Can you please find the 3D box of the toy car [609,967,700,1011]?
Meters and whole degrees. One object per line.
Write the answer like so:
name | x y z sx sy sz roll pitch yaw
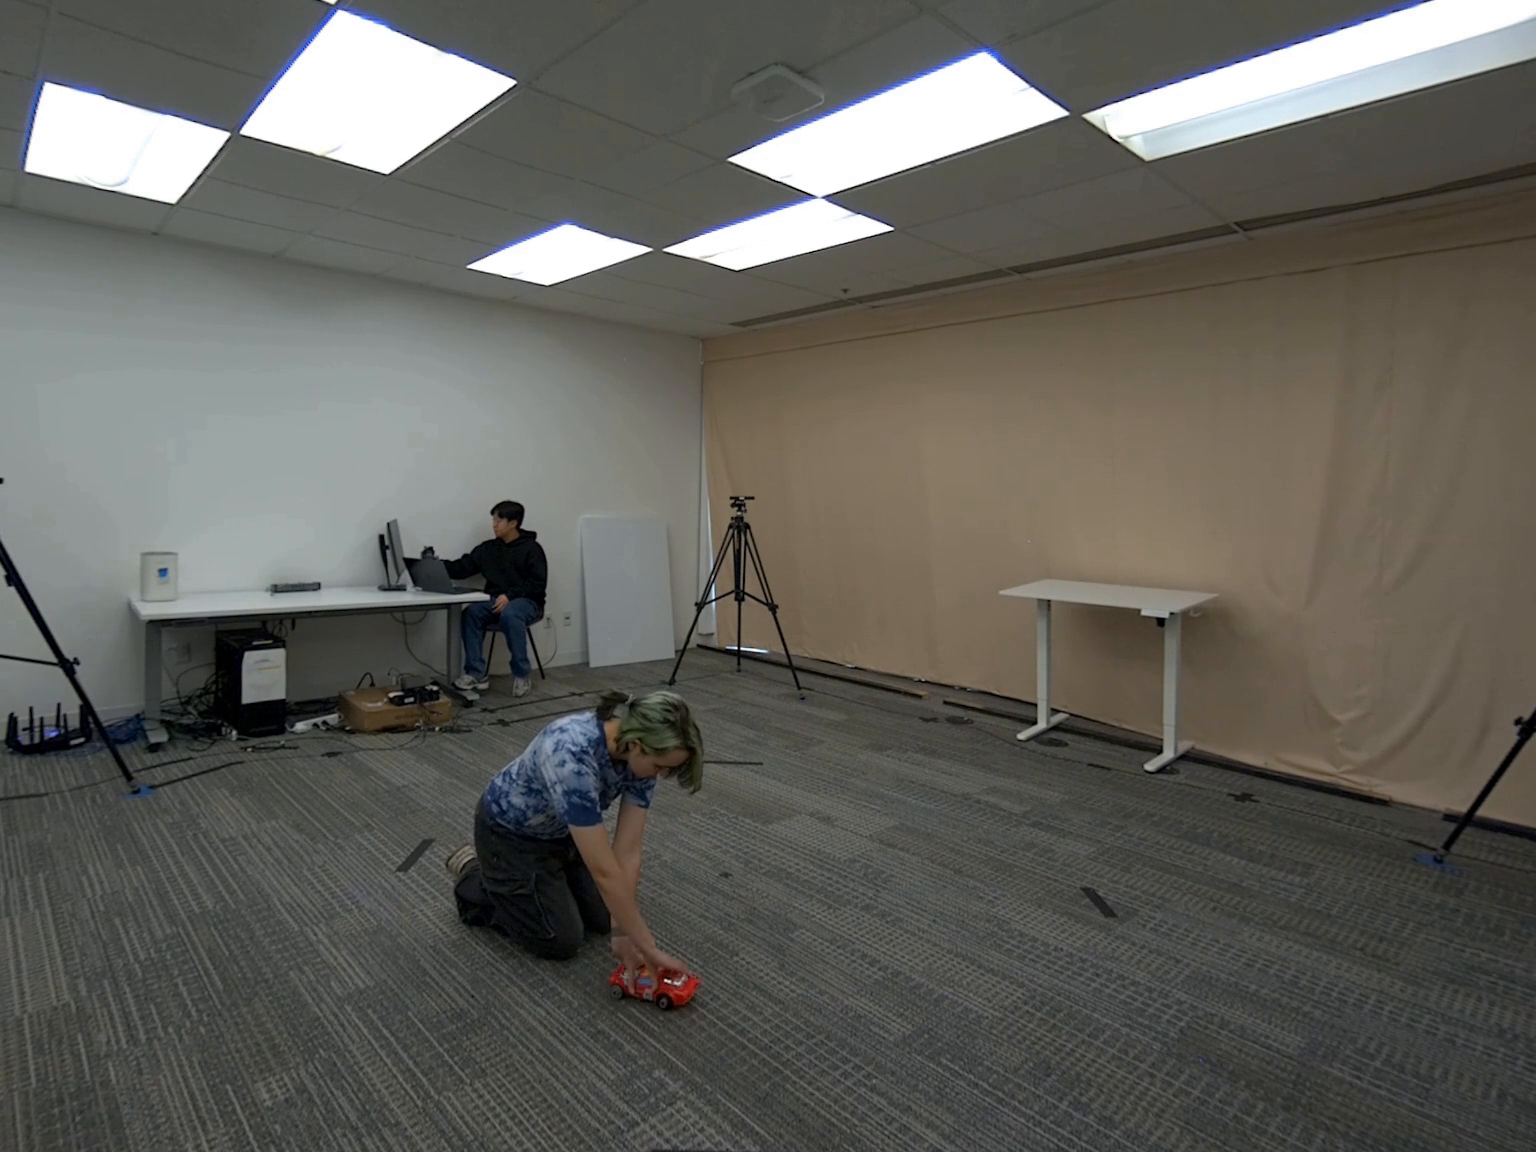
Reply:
toy car | -0.316 1.146 2.327 0.258 0.083 0.129 -10 2 20
